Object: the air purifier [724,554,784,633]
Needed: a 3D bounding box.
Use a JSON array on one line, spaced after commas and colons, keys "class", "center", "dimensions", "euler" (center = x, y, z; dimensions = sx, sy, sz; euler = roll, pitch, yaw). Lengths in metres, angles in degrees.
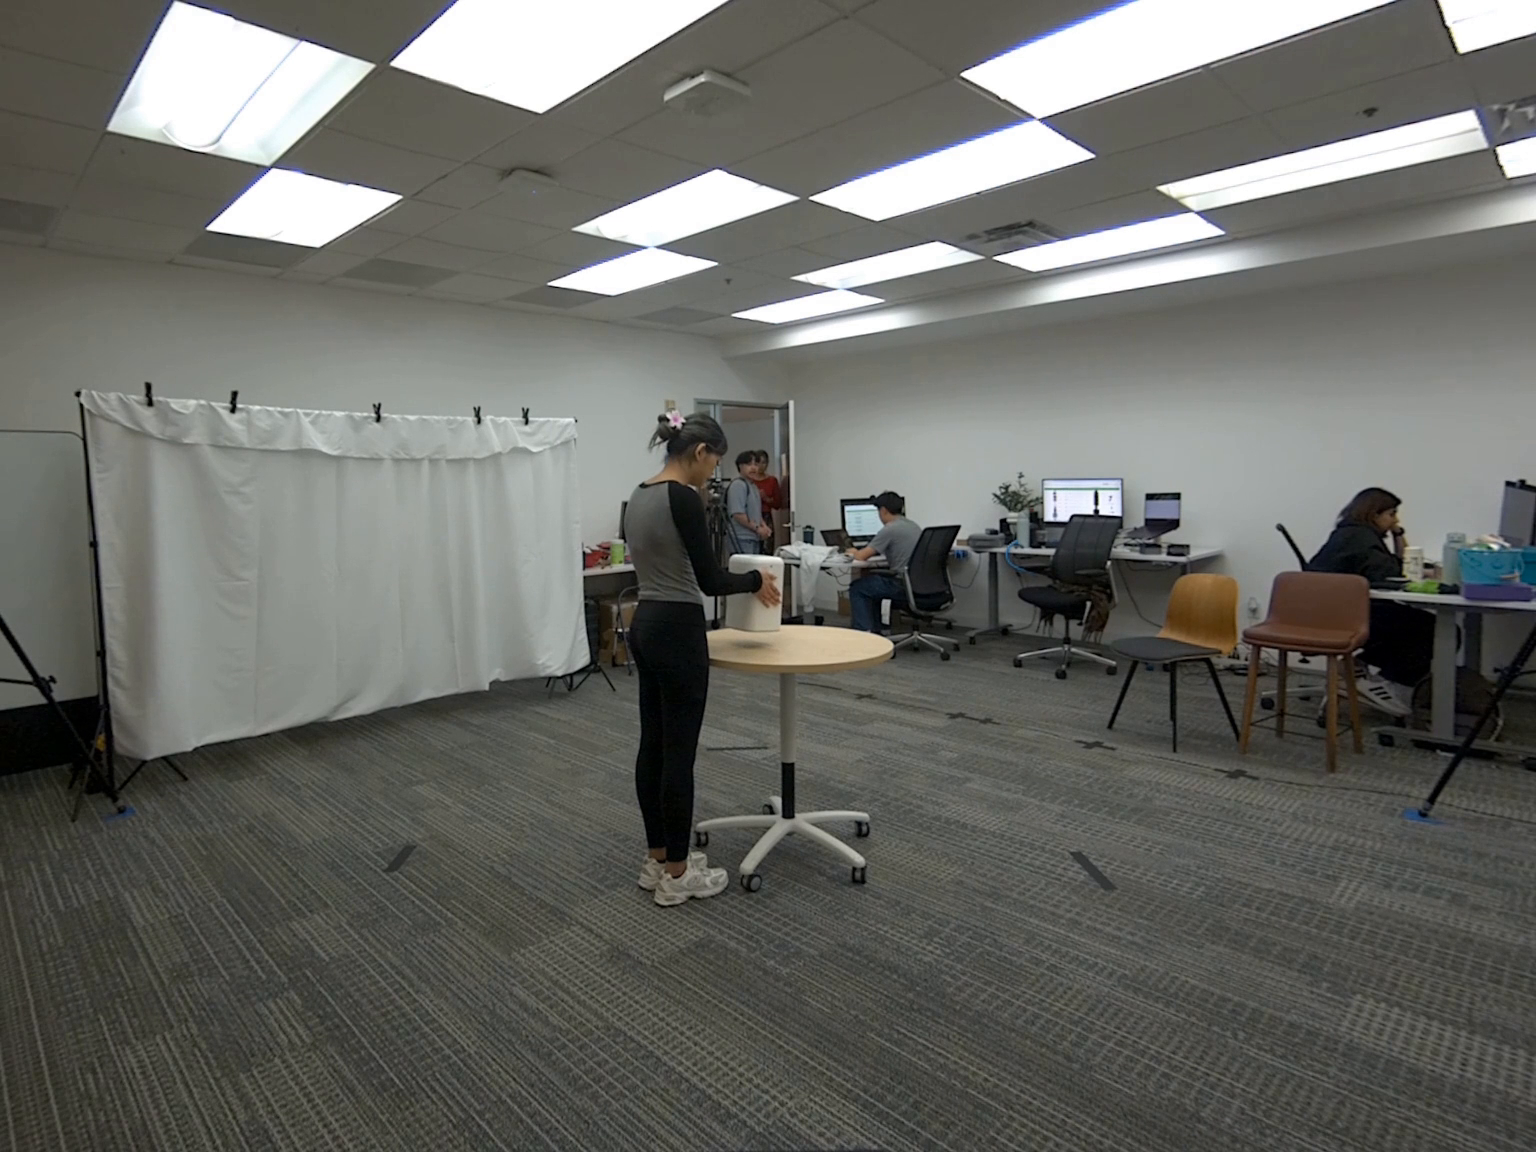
[{"class": "air purifier", "center": [-0.048, 0.058, 3.088], "dimensions": [0.177, 0.265, 0.166], "euler": [2, 1, 43]}]
